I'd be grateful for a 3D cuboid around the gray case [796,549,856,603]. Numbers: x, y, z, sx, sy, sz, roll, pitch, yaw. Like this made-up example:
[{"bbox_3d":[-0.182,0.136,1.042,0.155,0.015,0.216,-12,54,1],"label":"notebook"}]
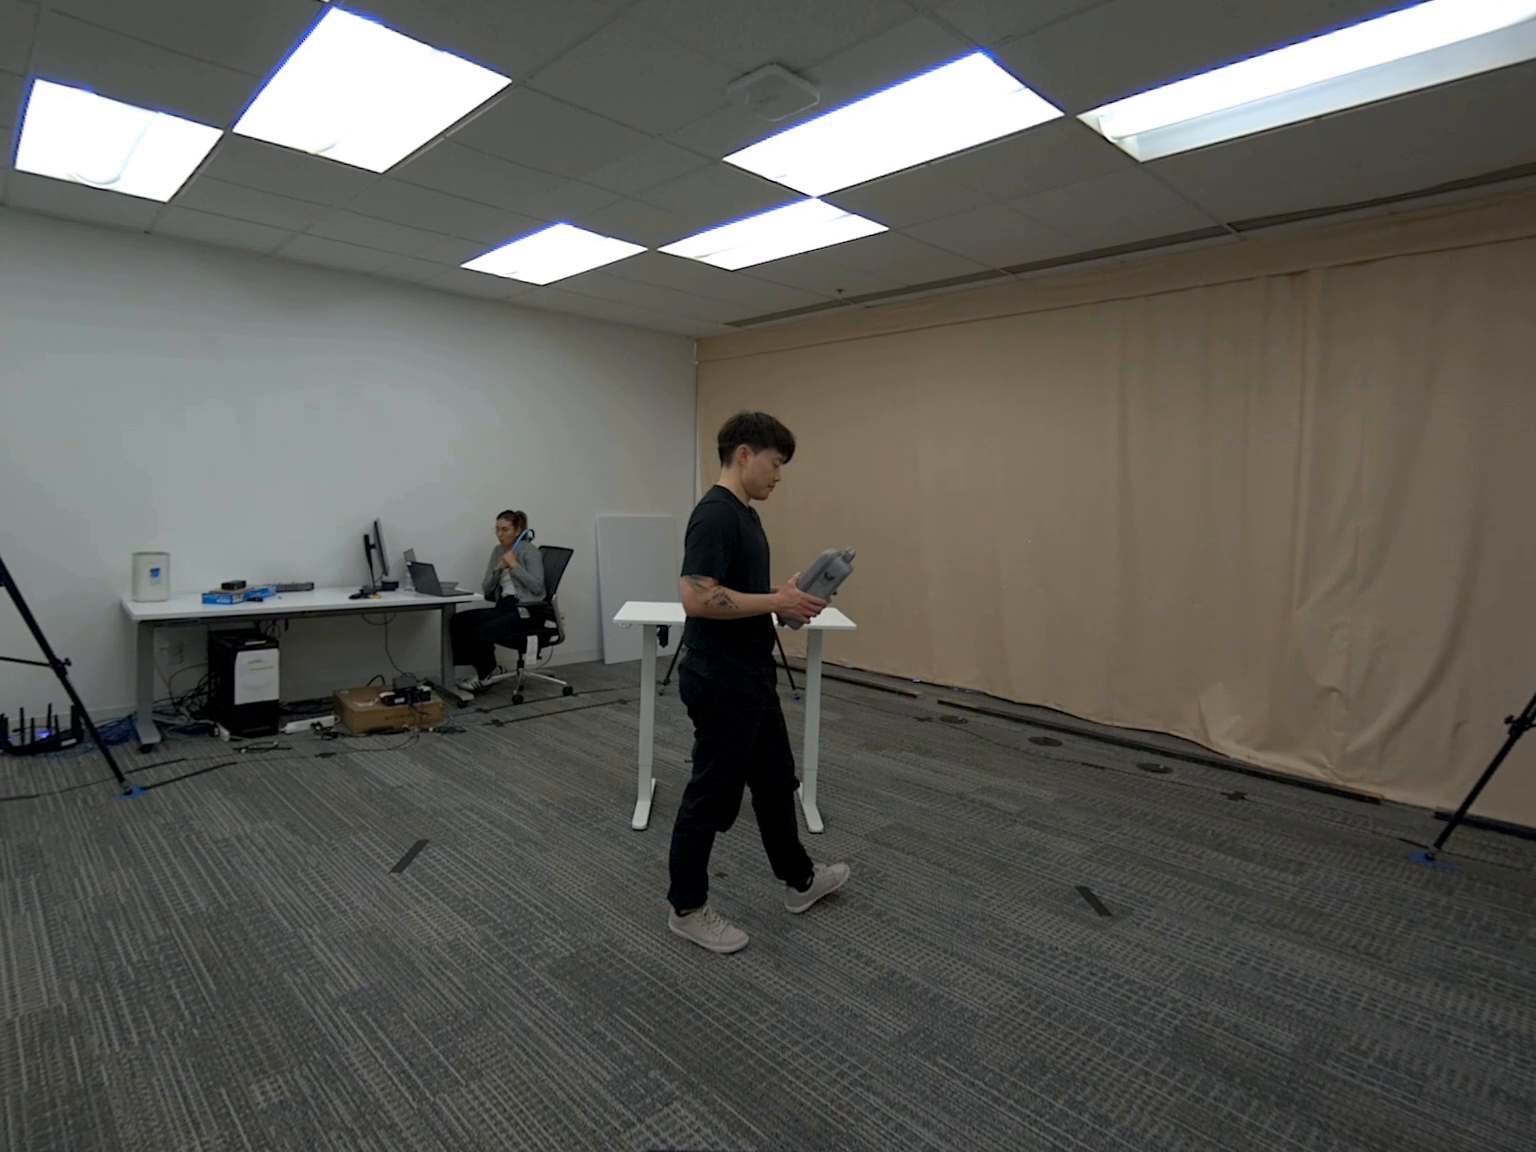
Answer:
[{"bbox_3d":[0.143,0.031,2.578,0.105,0.260,0.255,43,10,4],"label":"gray case"}]
